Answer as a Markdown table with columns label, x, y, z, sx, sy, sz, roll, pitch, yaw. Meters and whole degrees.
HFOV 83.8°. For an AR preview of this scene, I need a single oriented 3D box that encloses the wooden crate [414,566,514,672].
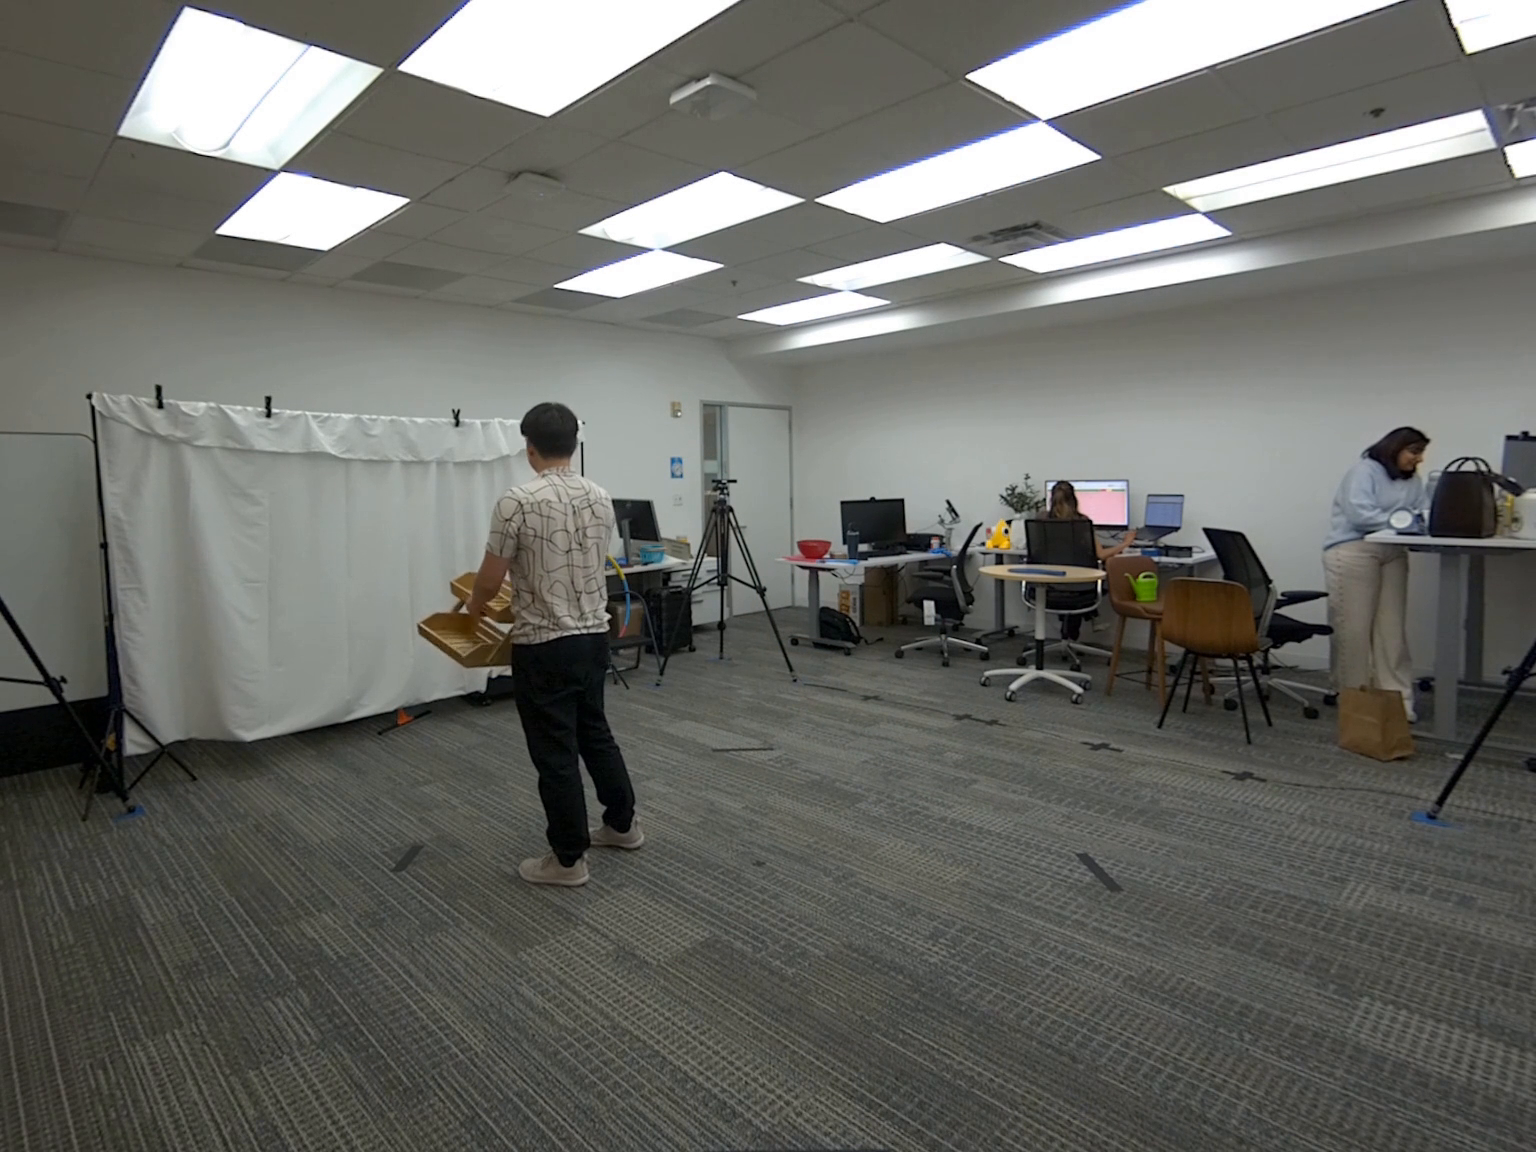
| label | x | y | z | sx | sy | sz | roll | pitch | yaw |
| --- | --- | --- | --- | --- | --- | --- | --- | --- | --- |
| wooden crate | -1.065 | 0.157 | 3.205 | 0.336 | 0.272 | 0.293 | 24 | 9 | 32 |
